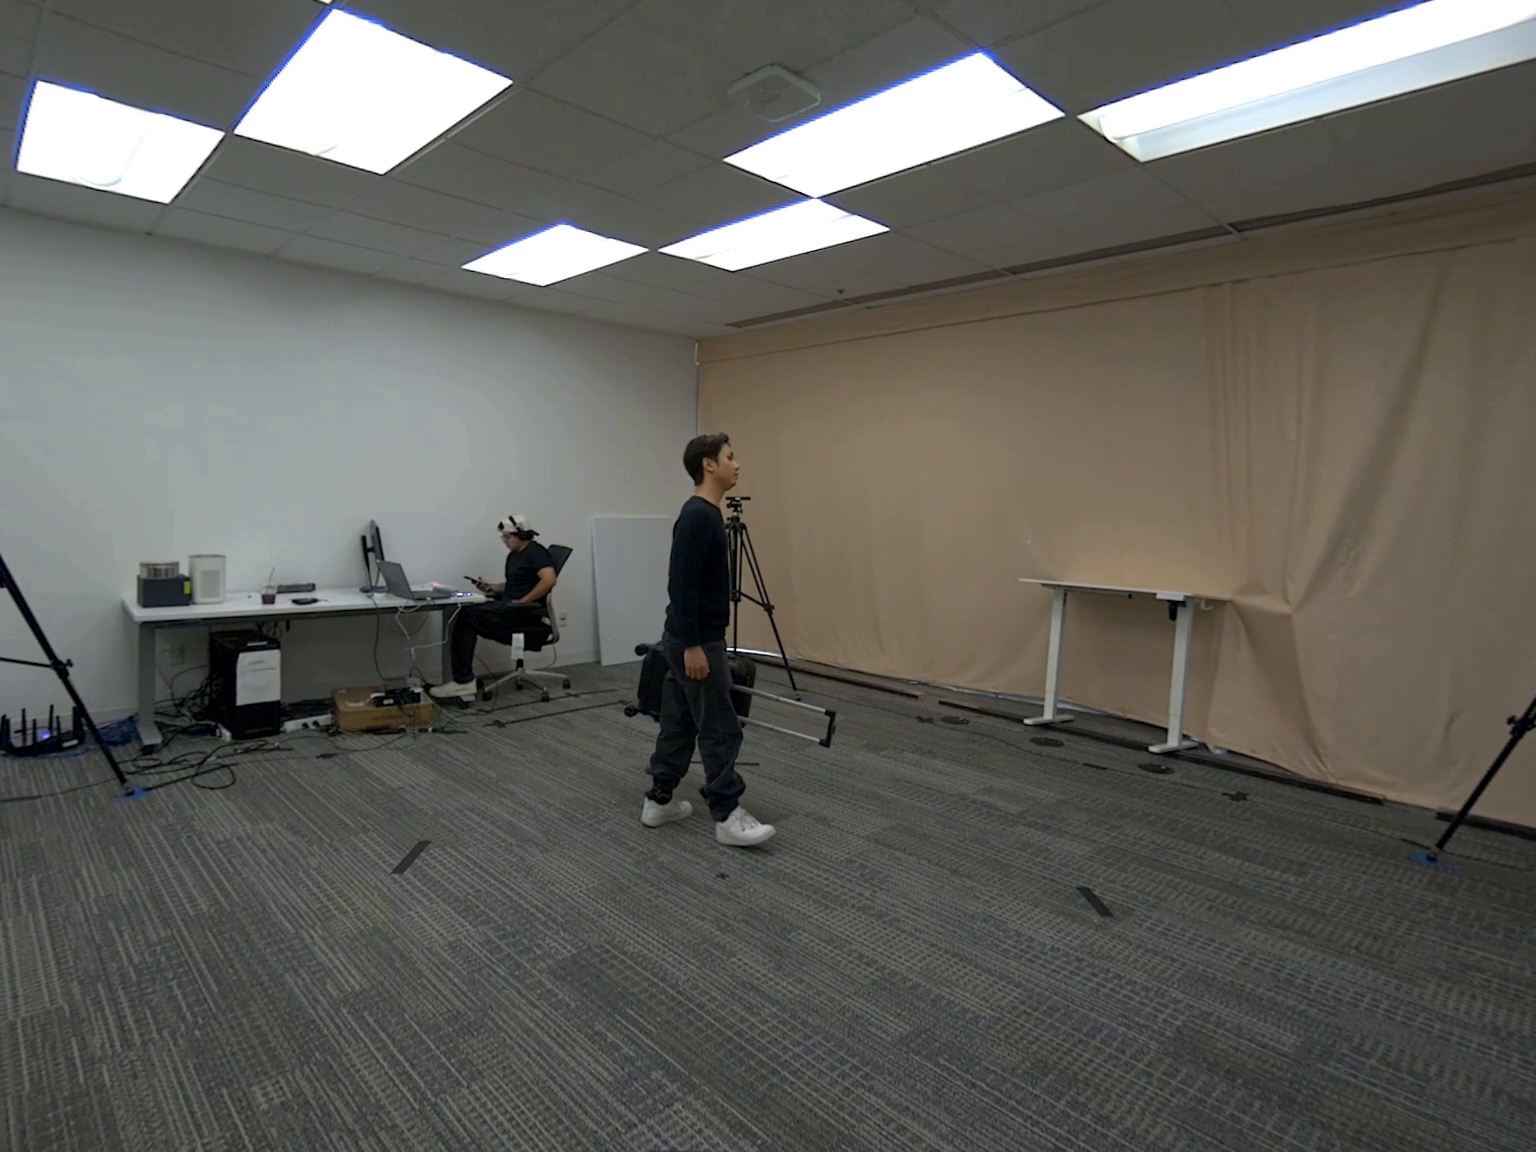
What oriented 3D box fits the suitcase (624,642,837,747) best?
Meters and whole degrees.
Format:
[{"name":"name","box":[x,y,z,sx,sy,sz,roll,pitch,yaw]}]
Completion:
[{"name":"suitcase","box":[-0.152,0.552,3.832,0.996,0.383,0.253,11,3,19]}]
